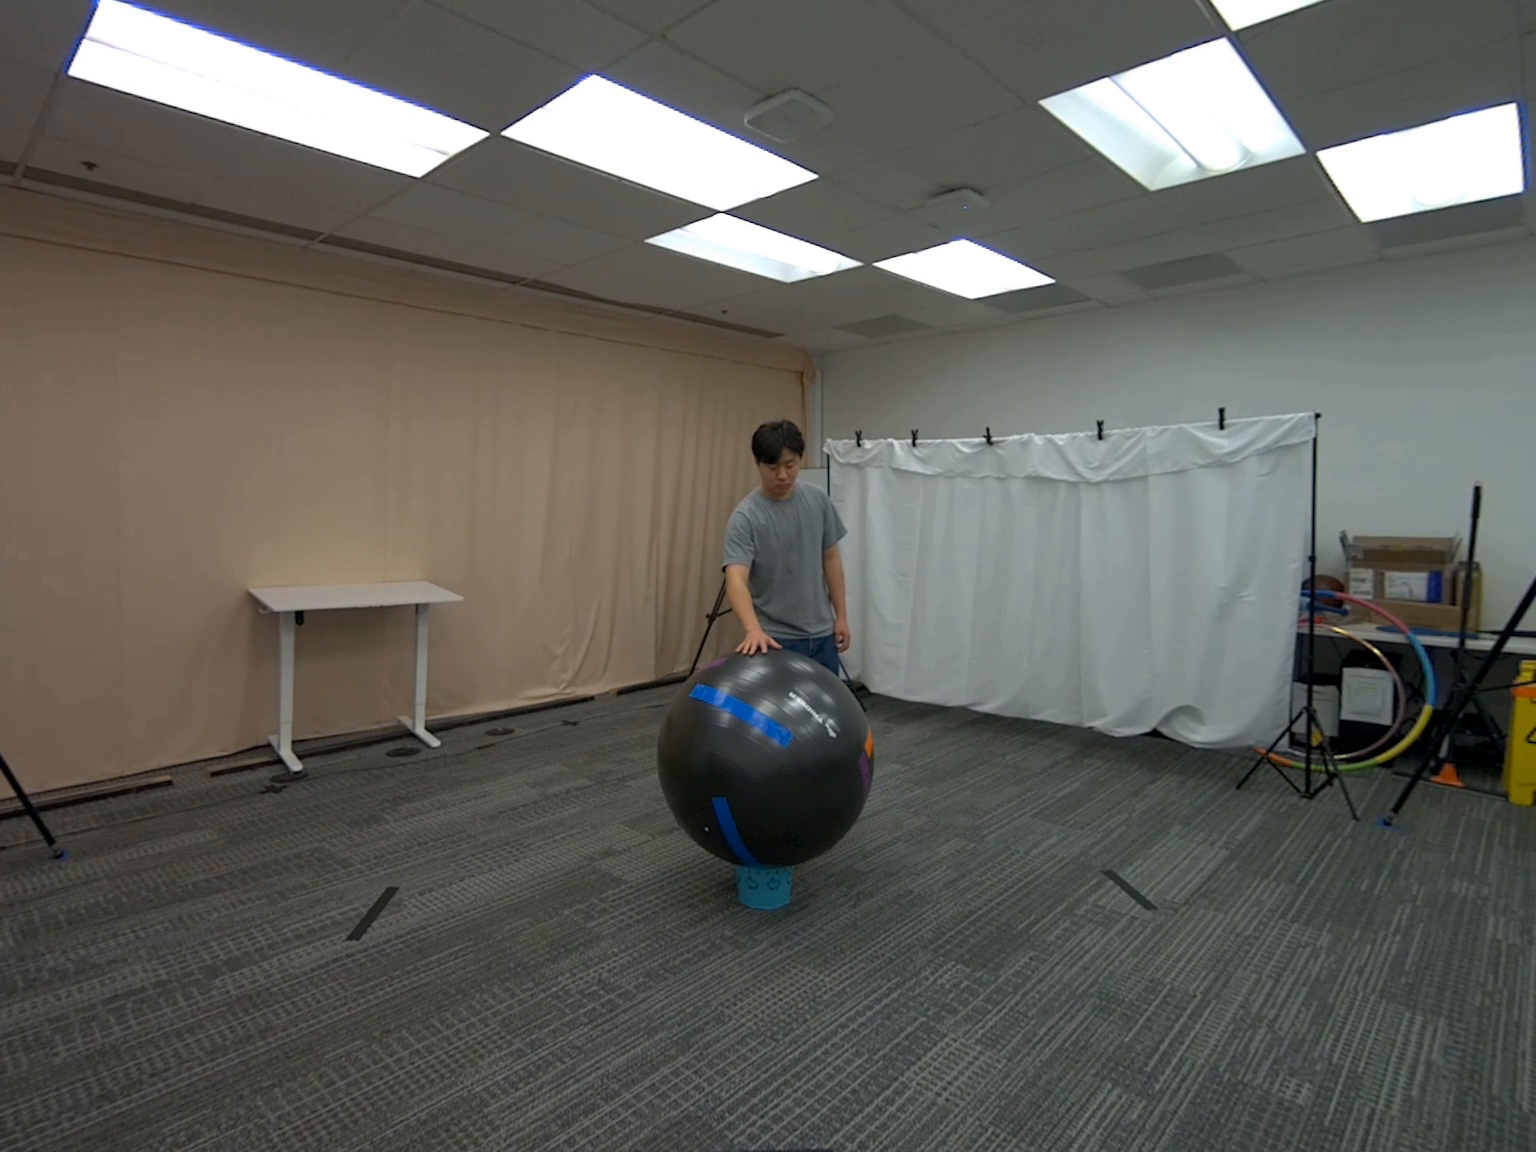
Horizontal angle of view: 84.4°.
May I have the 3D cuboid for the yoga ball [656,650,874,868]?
[{"bbox_3d":[-0.014,0.630,2.976,0.757,0.756,0.760,0,4,-2],"label":"yoga ball"}]
